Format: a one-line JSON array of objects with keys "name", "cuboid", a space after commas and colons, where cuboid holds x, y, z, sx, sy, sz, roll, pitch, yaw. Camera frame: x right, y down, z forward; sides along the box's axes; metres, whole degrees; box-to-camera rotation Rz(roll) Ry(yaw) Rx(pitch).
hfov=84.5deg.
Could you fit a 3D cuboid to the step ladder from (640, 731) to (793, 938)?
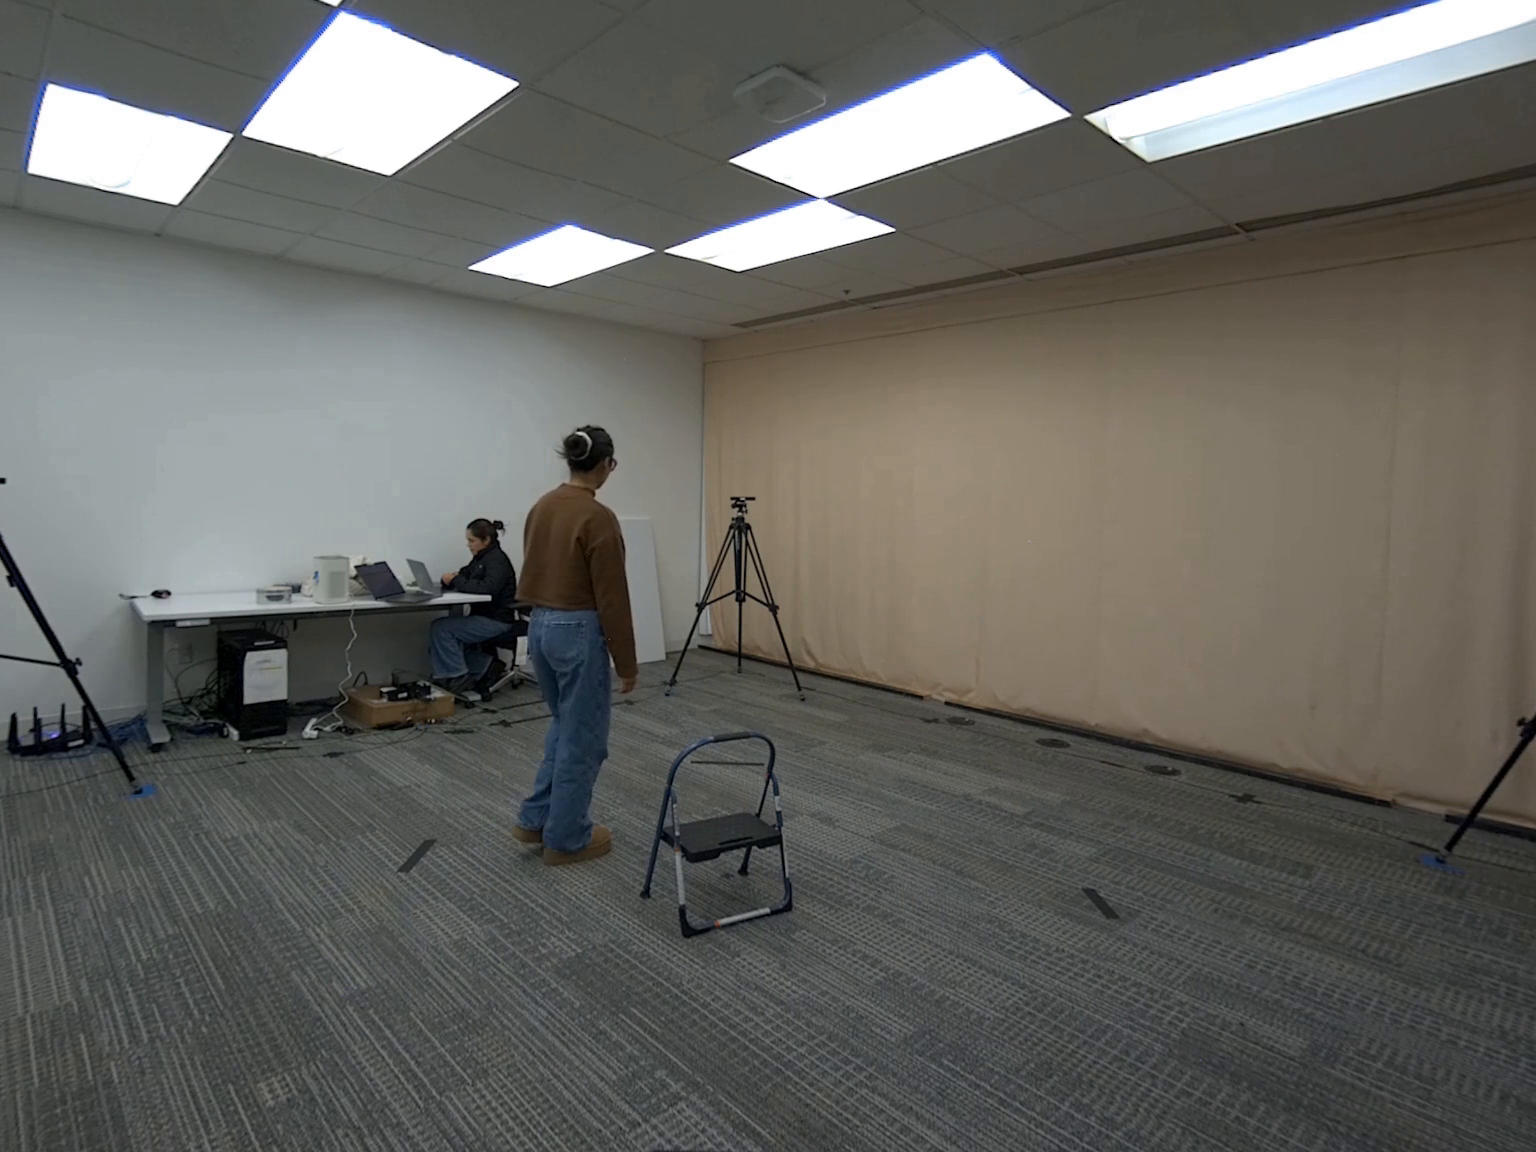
[{"name": "step ladder", "cuboid": [-0.177, 0.820, 2.879, 0.422, 0.604, 0.357, -1, 4, -32]}]
